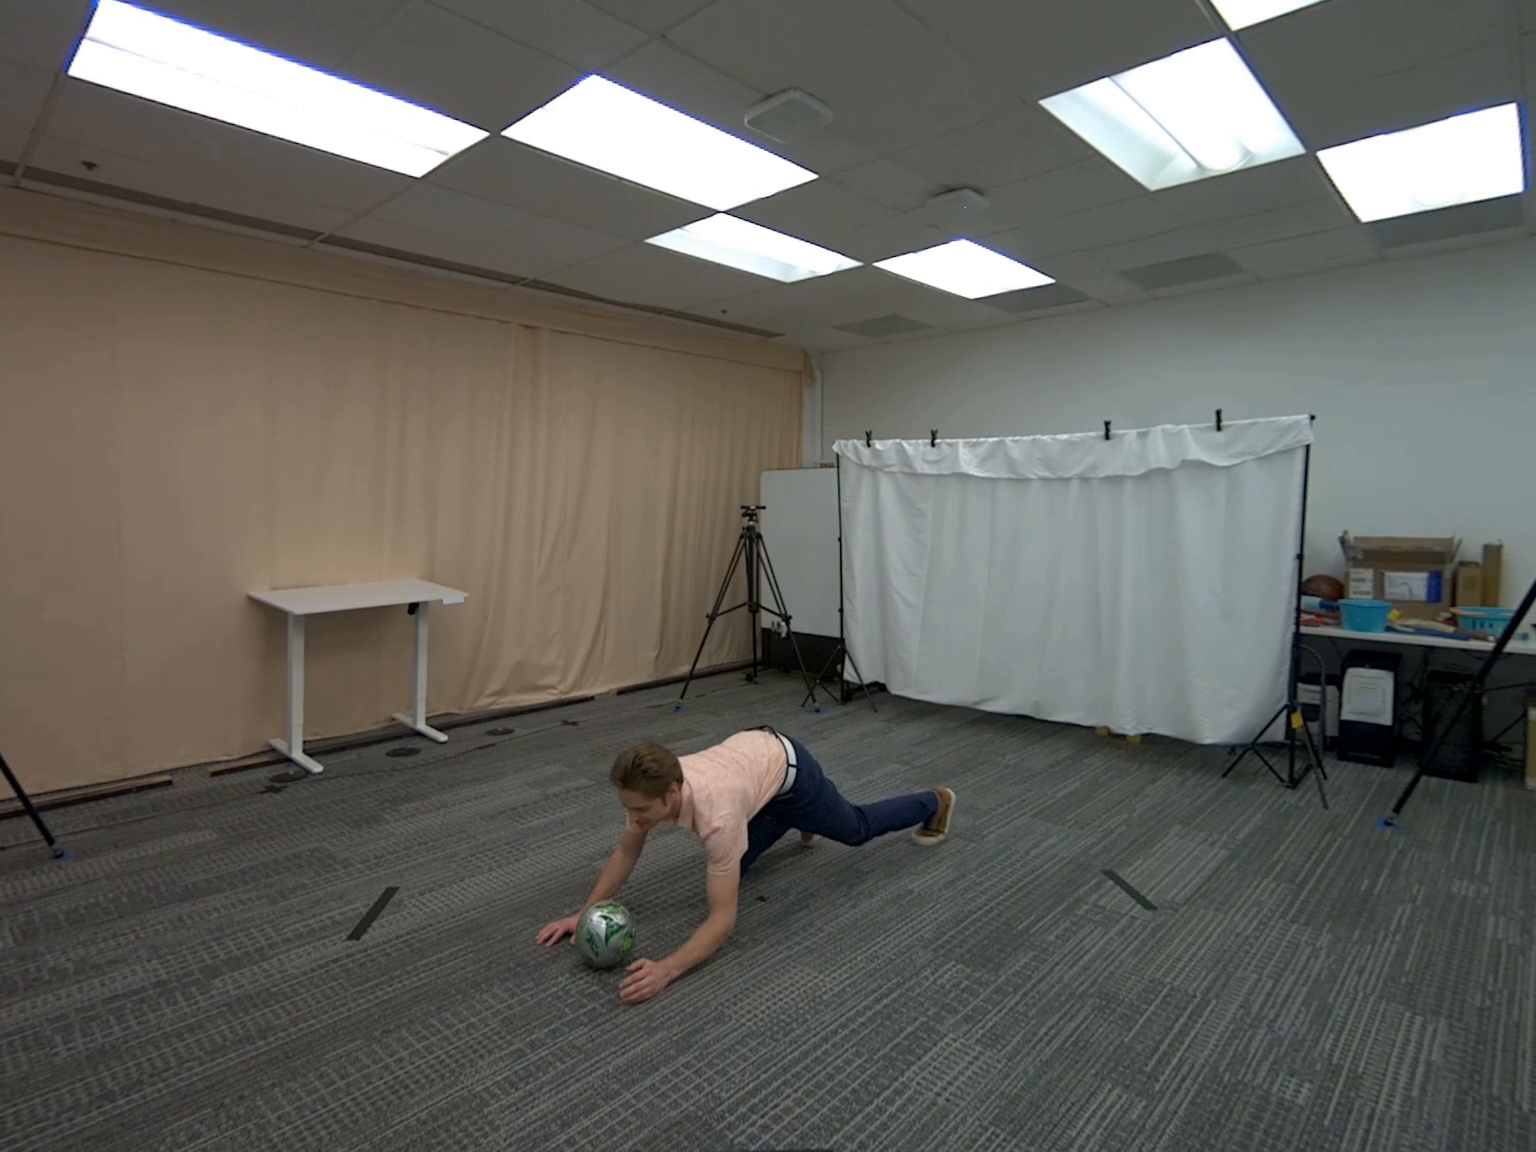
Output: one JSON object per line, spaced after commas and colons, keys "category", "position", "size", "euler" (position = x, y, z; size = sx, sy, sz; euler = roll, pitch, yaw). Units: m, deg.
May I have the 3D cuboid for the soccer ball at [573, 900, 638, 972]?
{"category": "soccer ball", "position": [-0.490, 1.087, 2.558], "size": [0.187, 0.187, 0.188], "euler": [0, 4, -2]}
